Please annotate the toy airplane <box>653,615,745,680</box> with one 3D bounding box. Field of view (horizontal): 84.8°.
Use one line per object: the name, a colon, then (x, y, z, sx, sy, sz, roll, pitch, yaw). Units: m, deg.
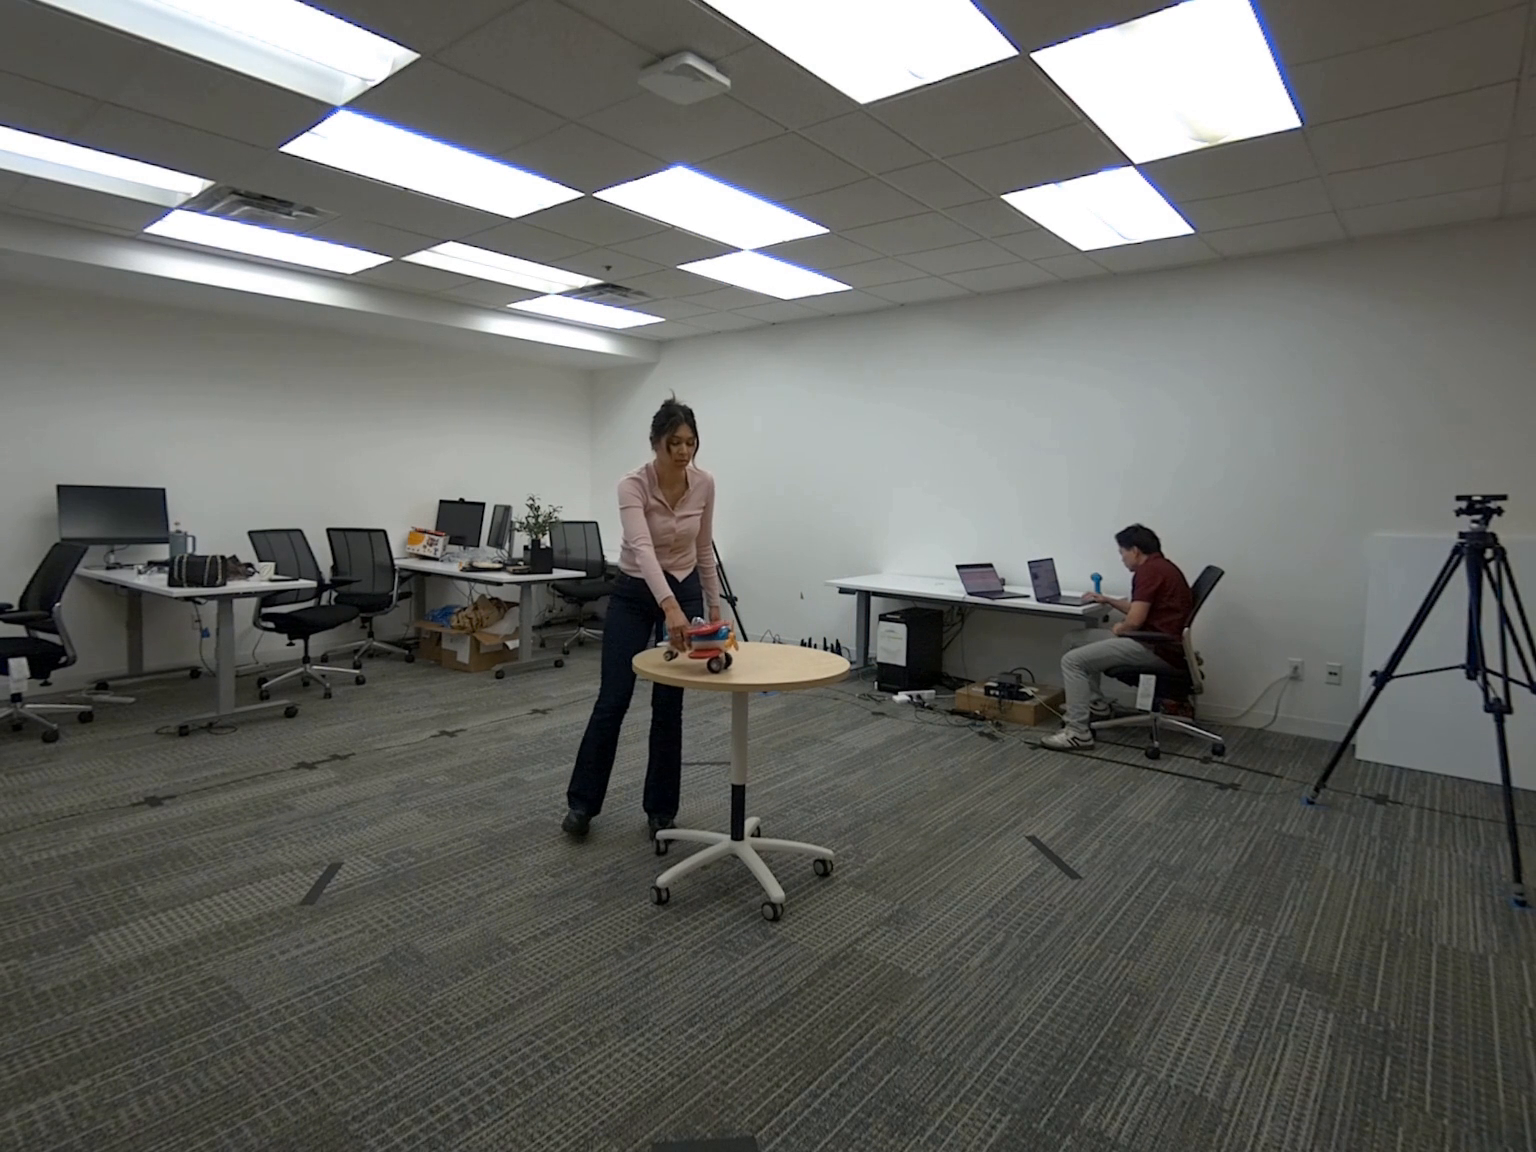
toy airplane: (-0.238, 0.224, 2.816, 0.256, 0.156, 0.255, 7, 6, -10)
